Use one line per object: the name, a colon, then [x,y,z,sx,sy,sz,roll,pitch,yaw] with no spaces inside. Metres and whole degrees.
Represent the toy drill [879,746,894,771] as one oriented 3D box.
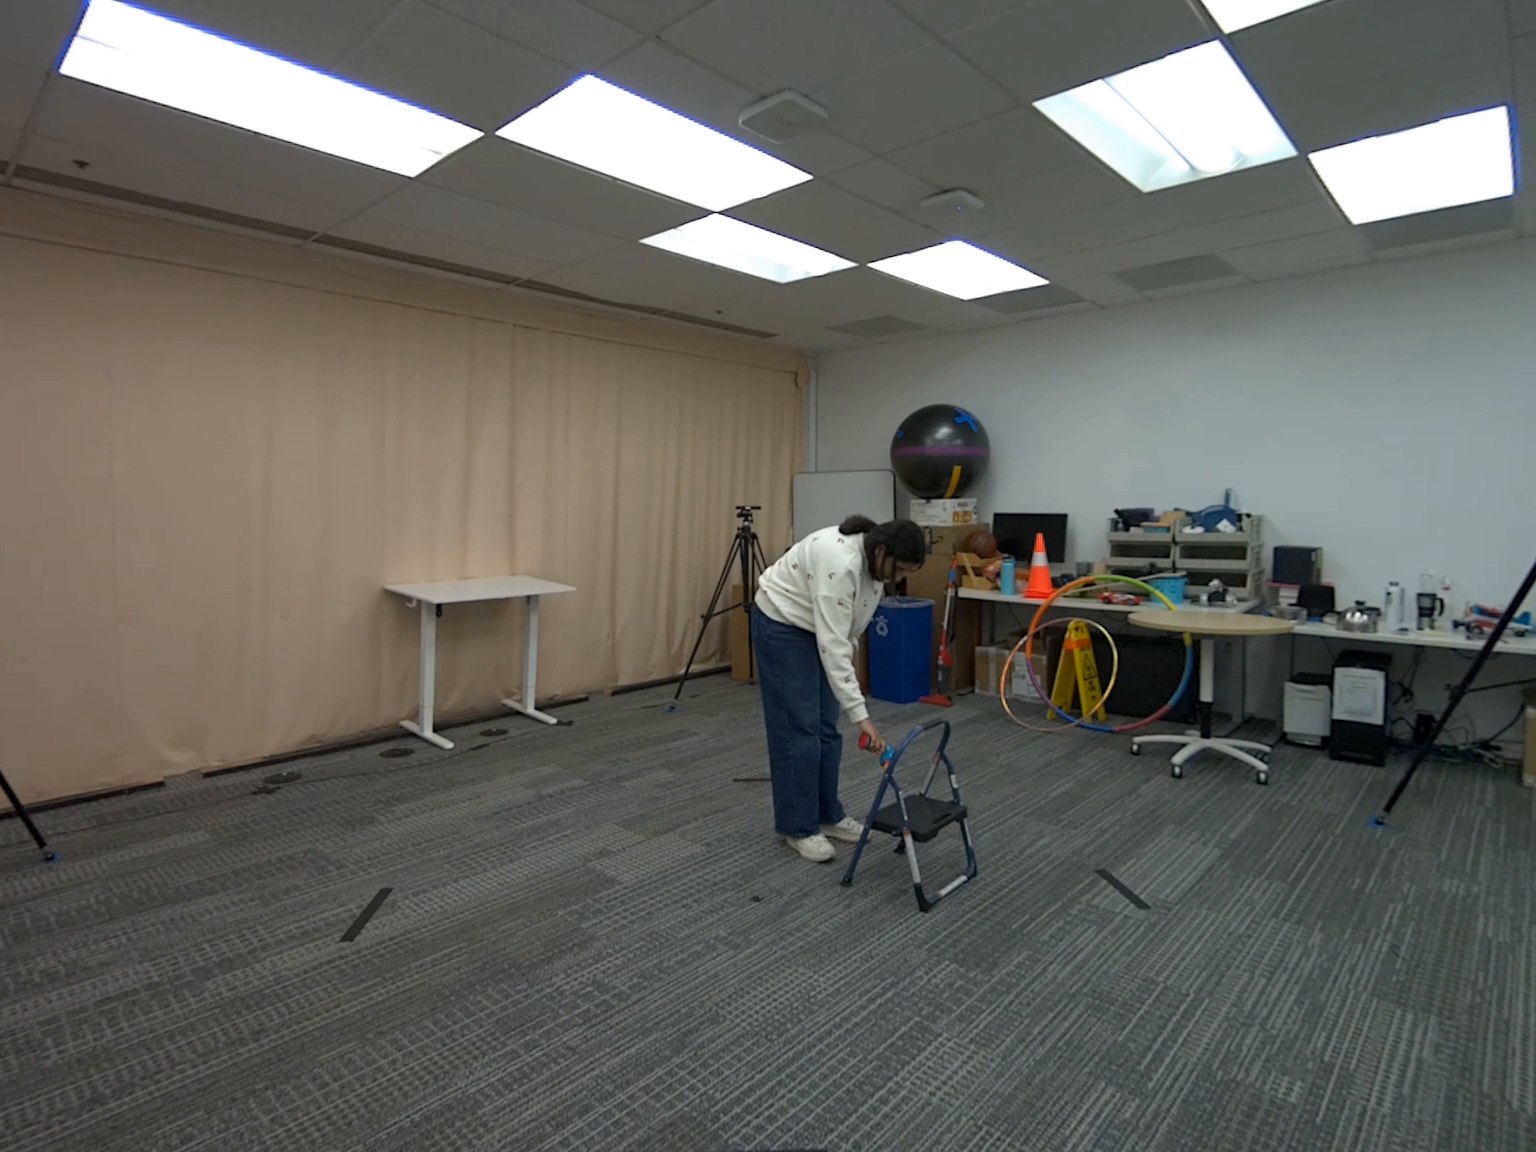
toy drill: [0.413,0.651,3.036,0.144,0.061,0.172,28,28,-13]
